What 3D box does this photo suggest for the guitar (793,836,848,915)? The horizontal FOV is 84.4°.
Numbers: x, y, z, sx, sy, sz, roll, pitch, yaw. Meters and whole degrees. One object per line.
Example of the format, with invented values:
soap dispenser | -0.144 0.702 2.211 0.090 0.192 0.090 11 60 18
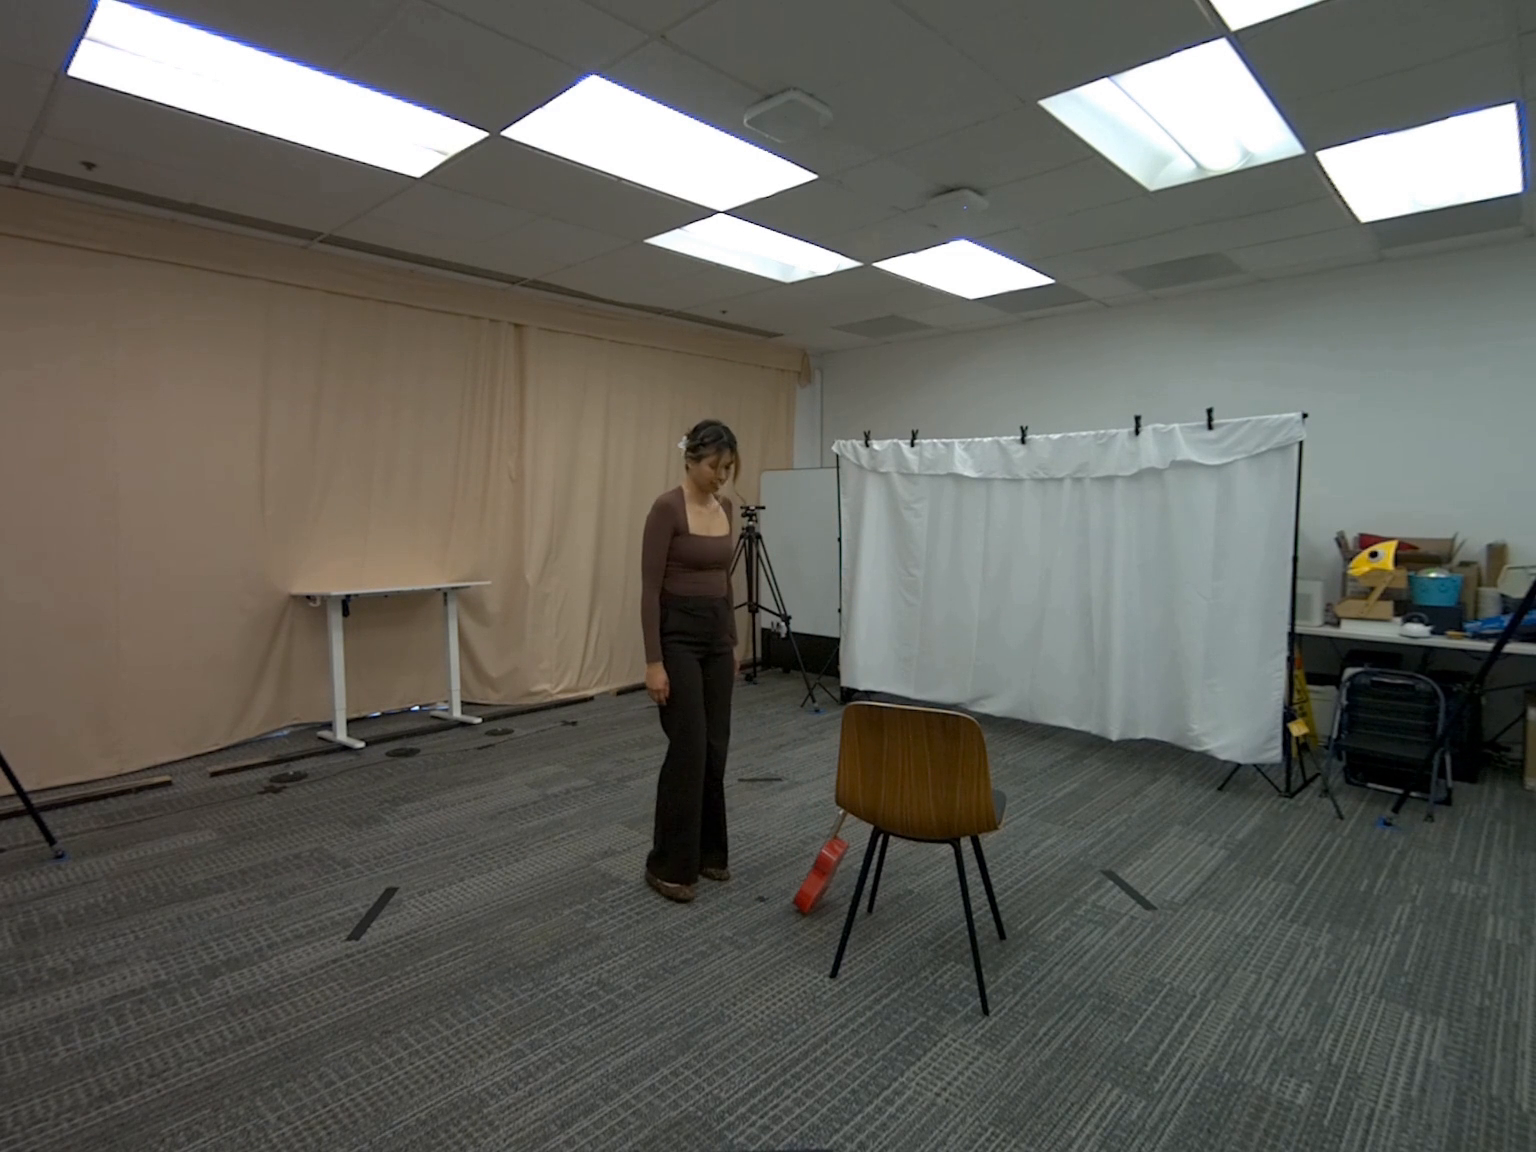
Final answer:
guitar | 0.216 0.927 2.838 0.072 0.495 0.189 30 24 21
